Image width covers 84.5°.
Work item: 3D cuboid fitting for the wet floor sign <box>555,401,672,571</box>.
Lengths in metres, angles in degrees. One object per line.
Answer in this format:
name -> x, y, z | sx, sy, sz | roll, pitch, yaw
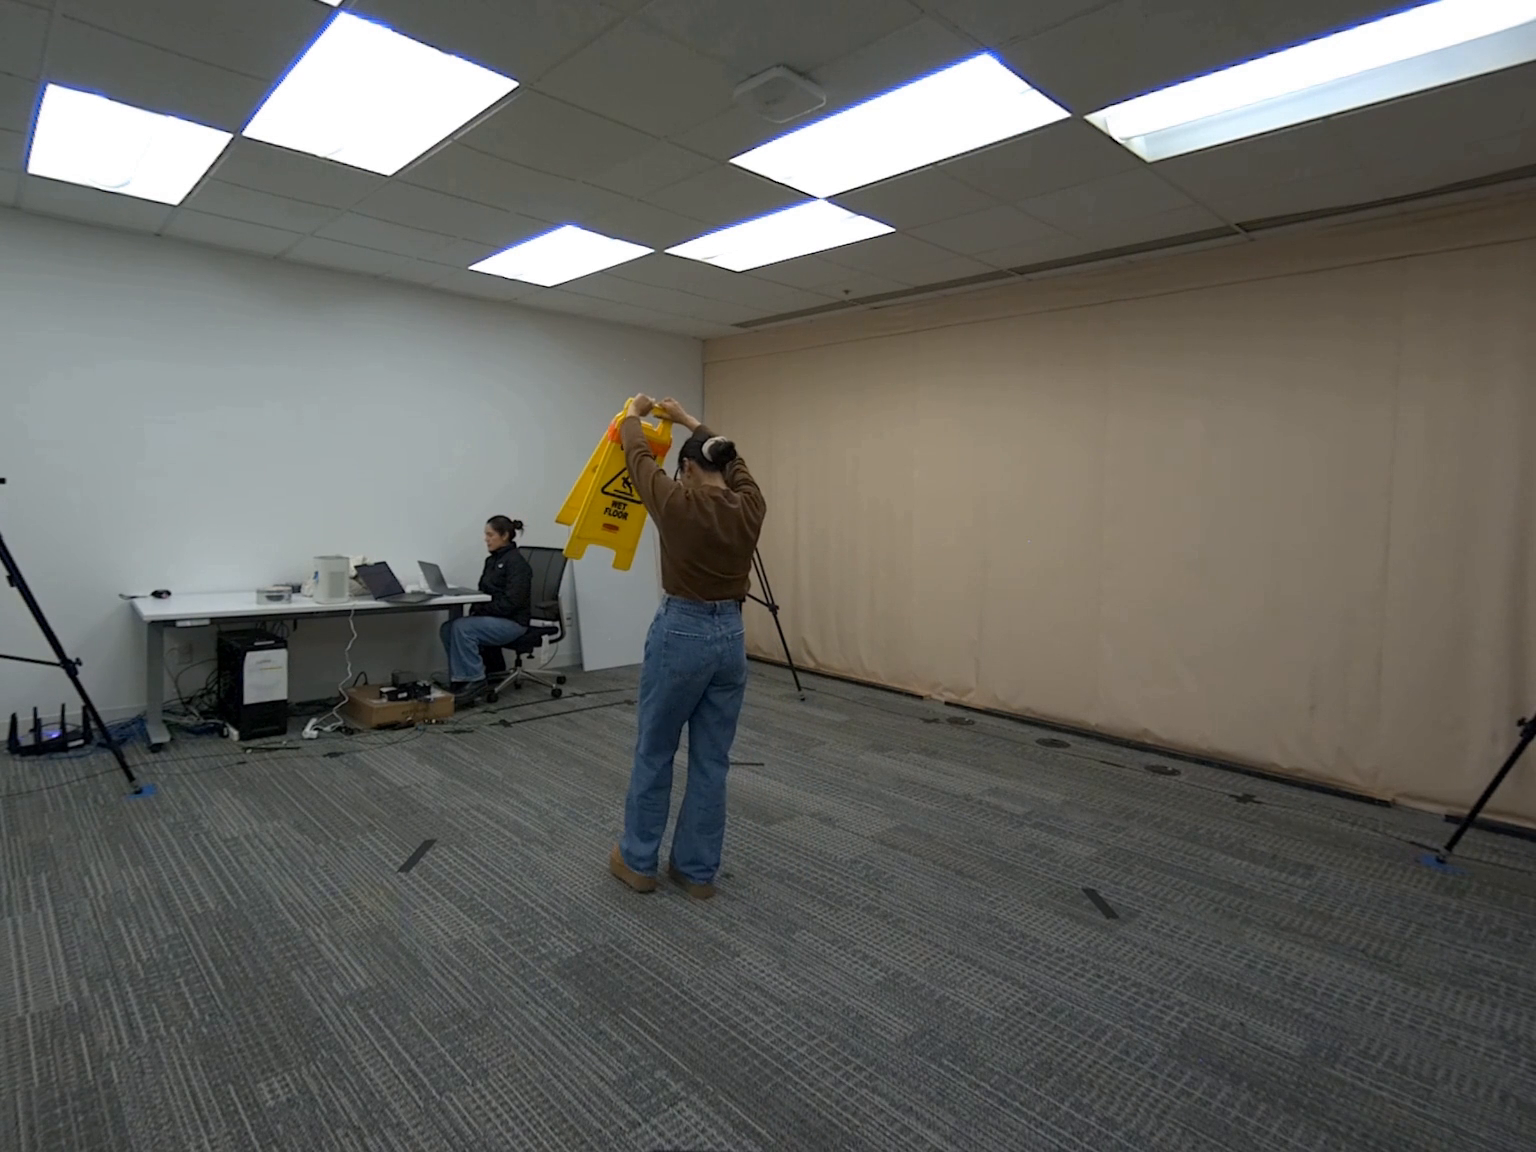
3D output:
wet floor sign -> -0.582, -0.380, 3.277 | 0.275, 0.642, 0.298 | 15, 26, -29
